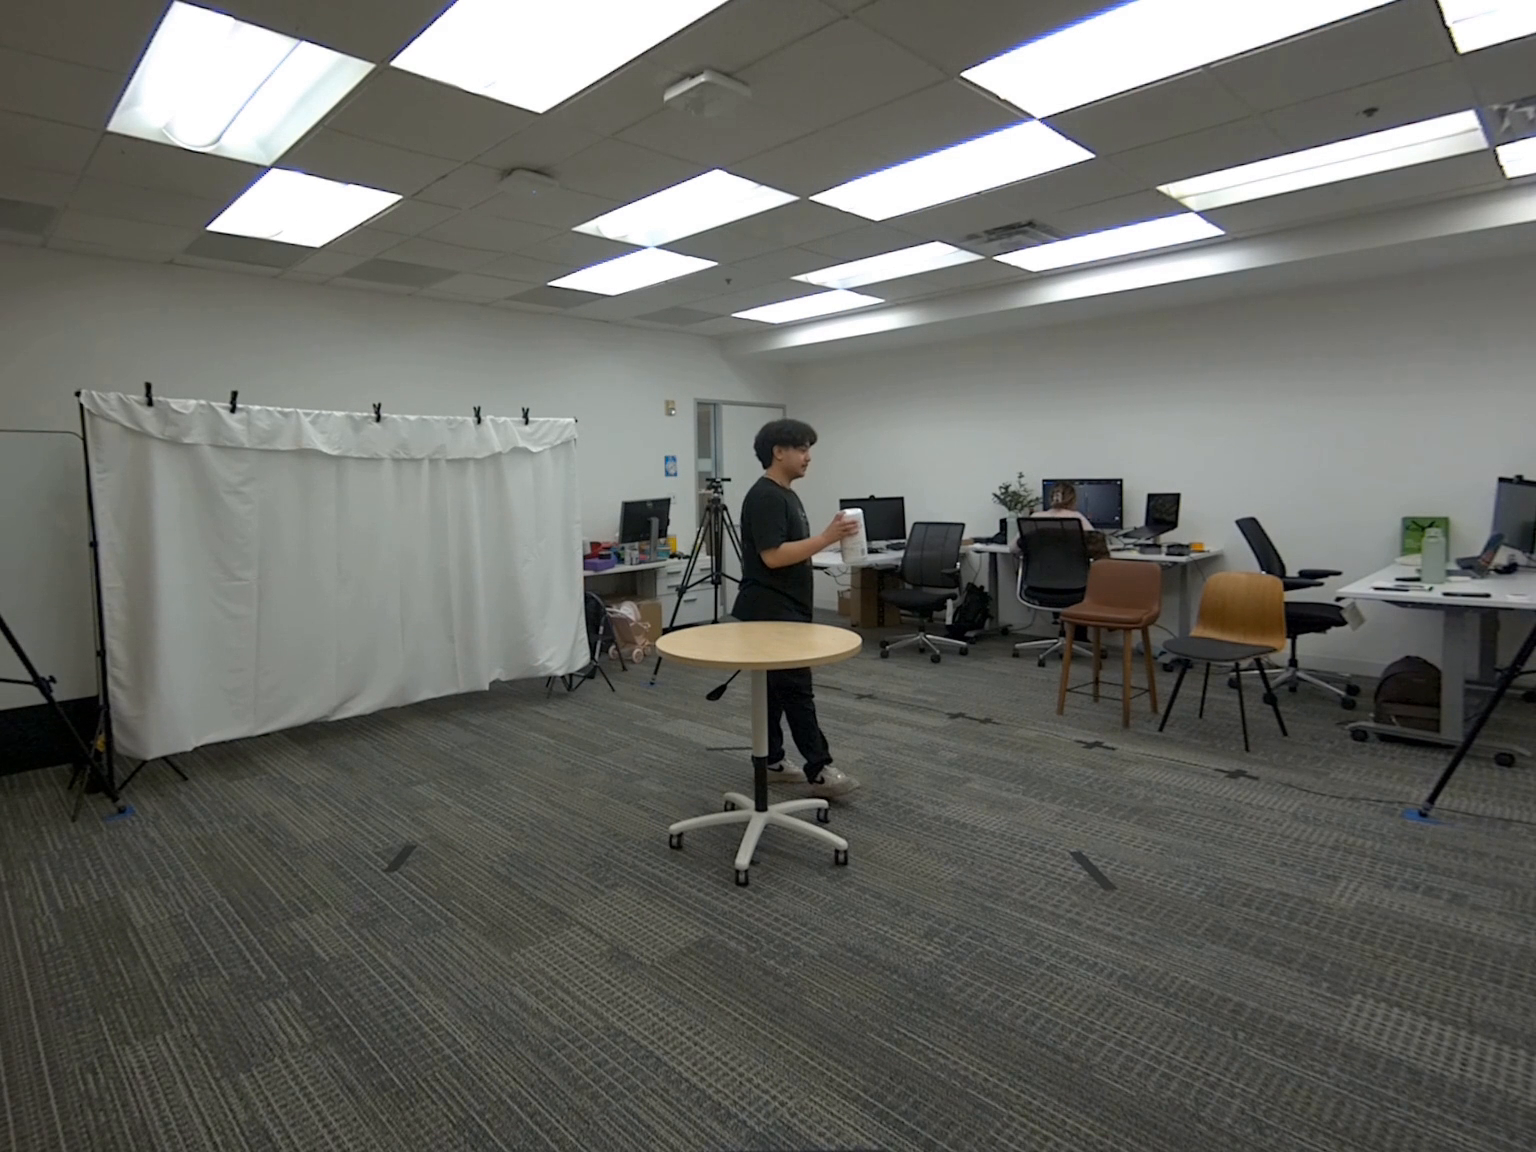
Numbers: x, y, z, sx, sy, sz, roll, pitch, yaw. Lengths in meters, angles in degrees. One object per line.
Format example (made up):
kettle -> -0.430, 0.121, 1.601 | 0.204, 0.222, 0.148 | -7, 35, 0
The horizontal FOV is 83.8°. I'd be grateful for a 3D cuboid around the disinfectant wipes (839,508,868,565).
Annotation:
disinfectant wipes -> 0.358, -0.167, 3.610 | 0.118, 0.214, 0.119 | -8, 14, 0
